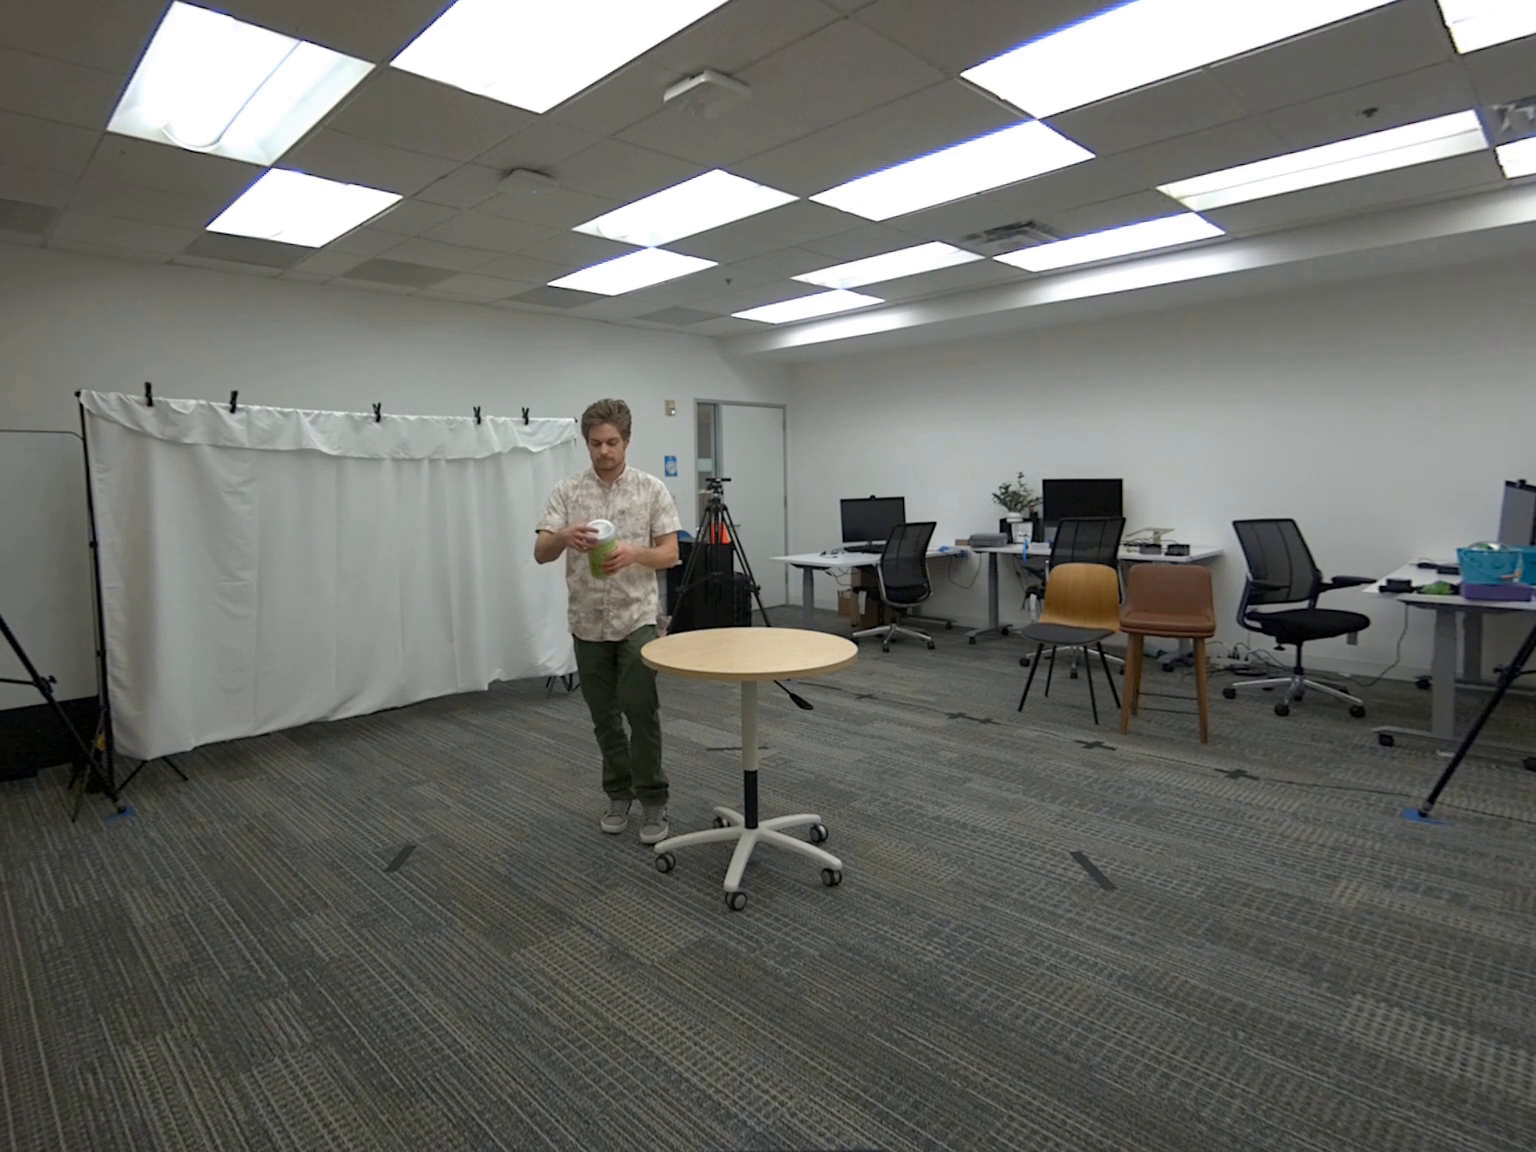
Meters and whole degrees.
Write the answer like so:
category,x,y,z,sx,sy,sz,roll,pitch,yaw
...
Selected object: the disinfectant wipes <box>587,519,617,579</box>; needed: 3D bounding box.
category,x,y,z,sx,sy,sz,roll,pitch,yaw
disinfectant wipes,-0.618,-0.095,3.134,0.117,0.212,0.121,1,44,-3
